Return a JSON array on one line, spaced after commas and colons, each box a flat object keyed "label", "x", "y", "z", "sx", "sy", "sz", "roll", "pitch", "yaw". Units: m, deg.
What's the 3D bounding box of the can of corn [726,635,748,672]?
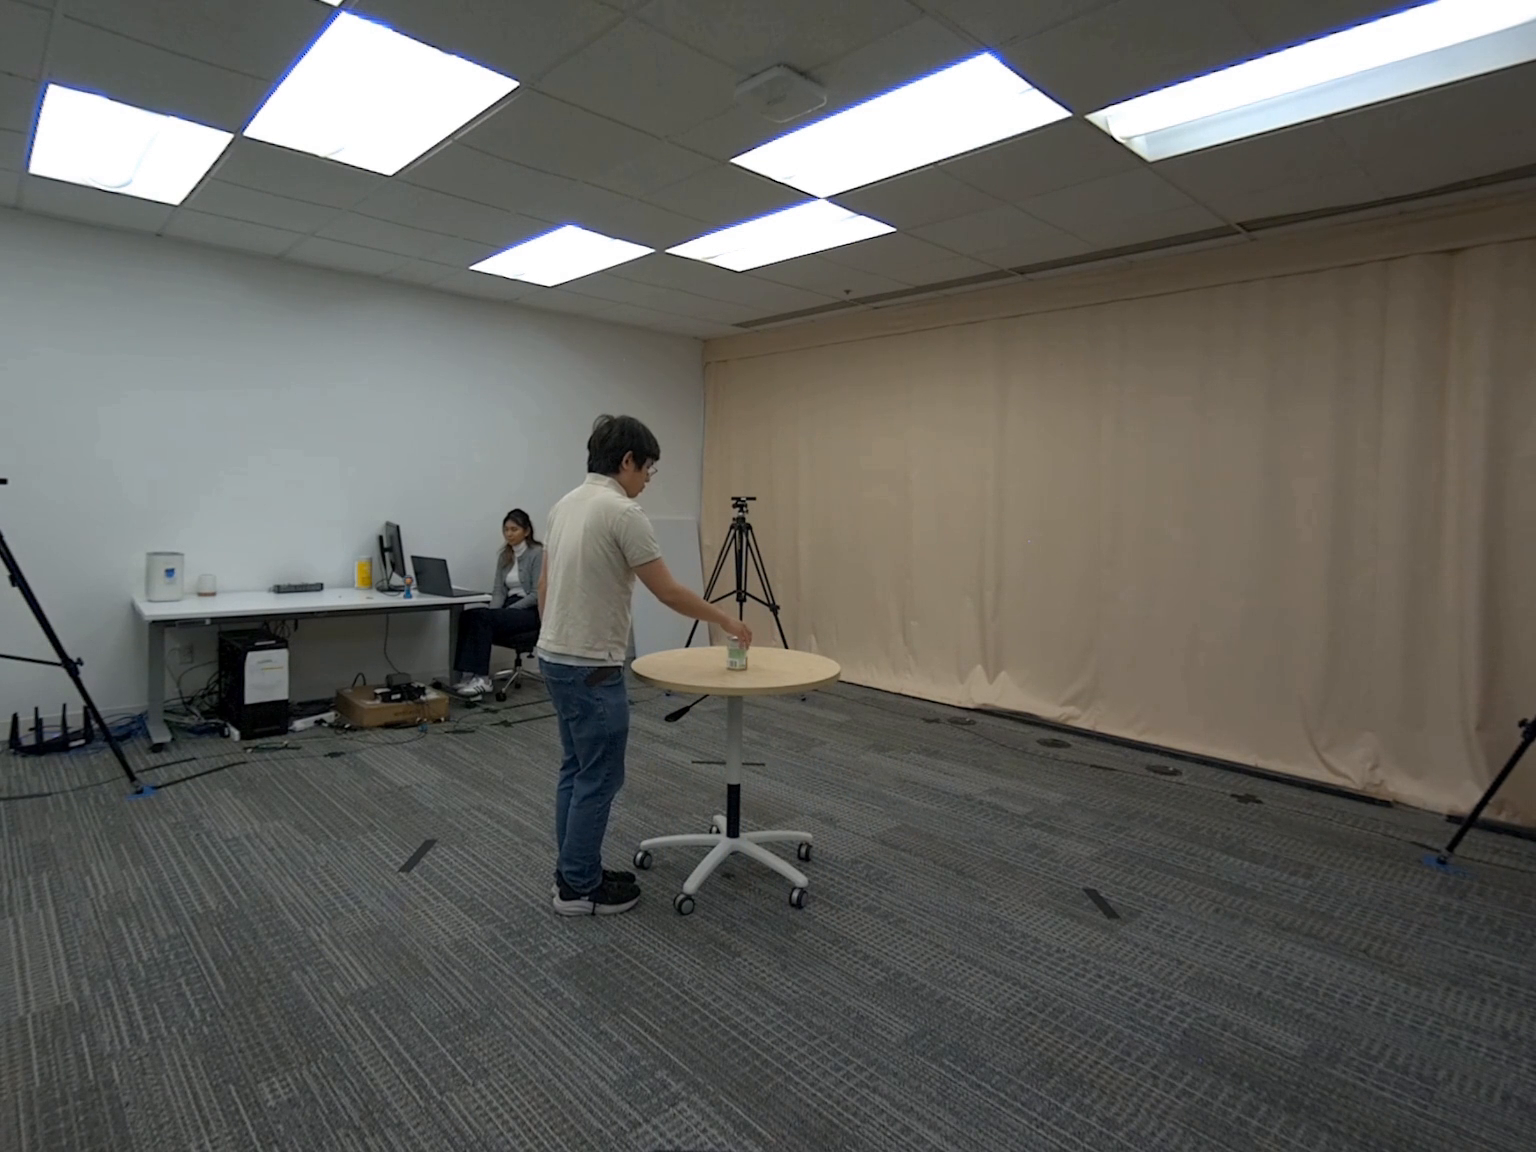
[{"label": "can of corn", "x": -0.111, "y": 0.280, "z": 3.003, "sx": 0.074, "sy": 0.111, "sz": 0.074, "roll": -1, "pitch": 3, "yaw": -1}]
